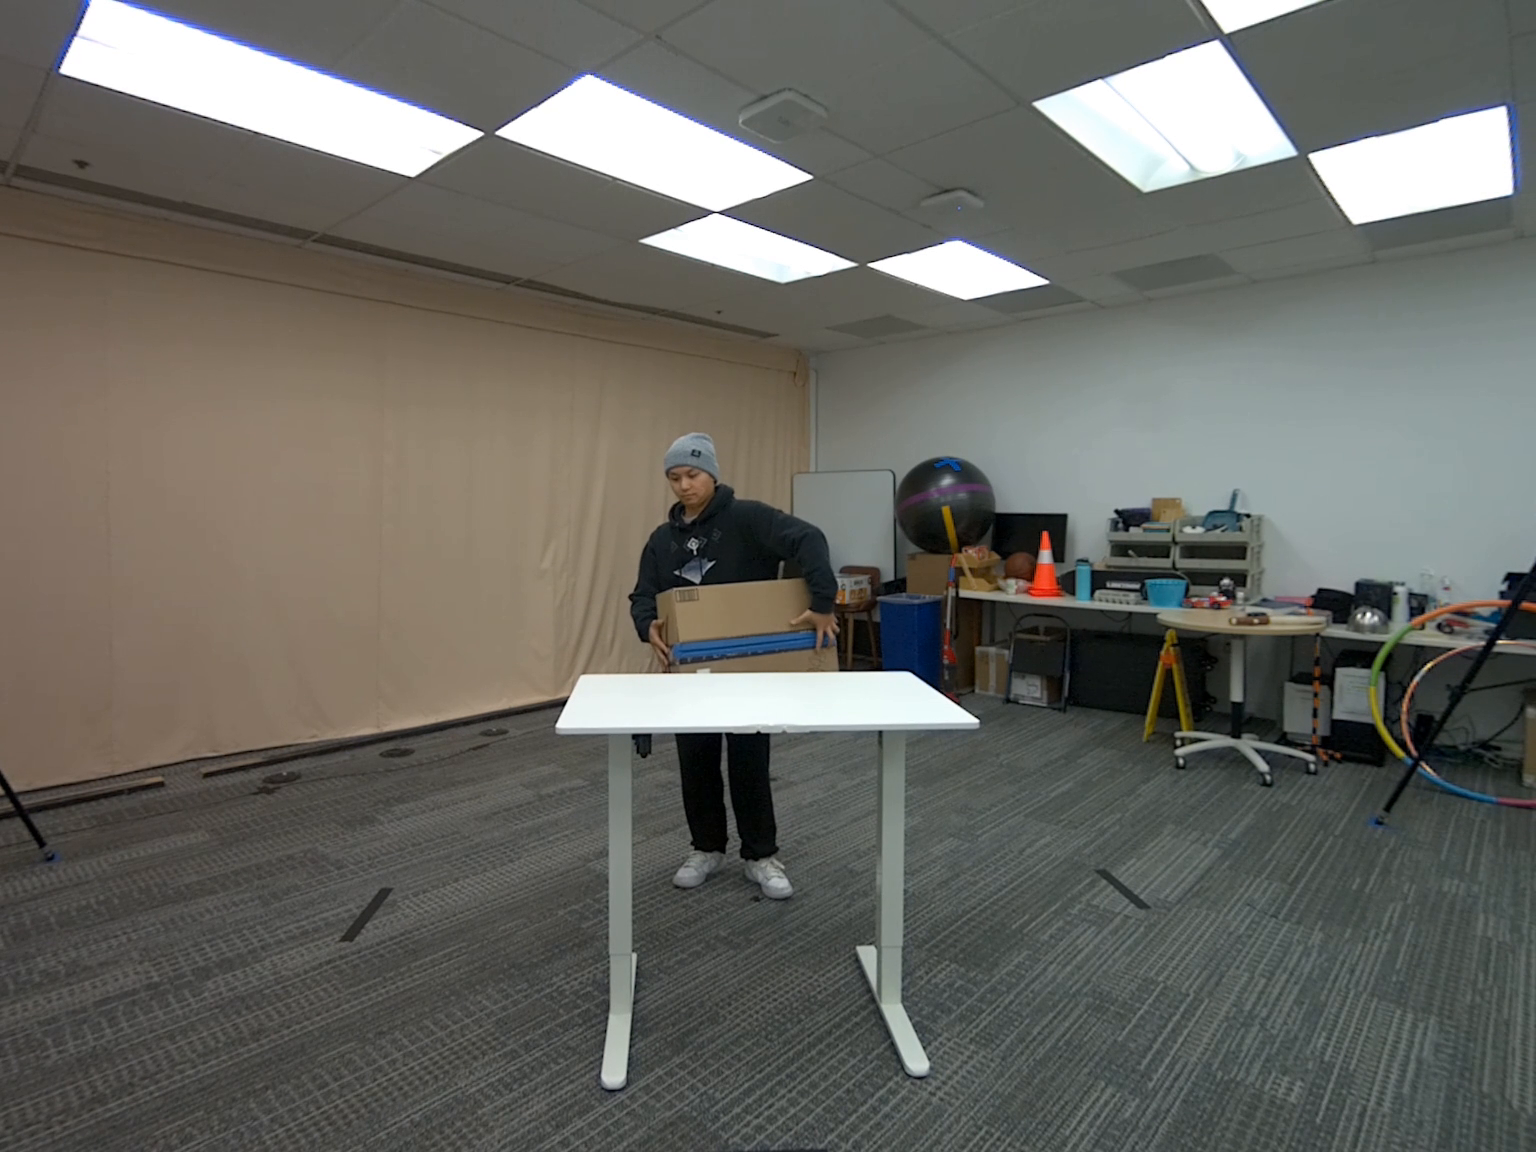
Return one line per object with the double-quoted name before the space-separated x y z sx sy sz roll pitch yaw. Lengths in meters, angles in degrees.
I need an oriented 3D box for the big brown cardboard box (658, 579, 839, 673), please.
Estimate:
"big brown cardboard box" -0.071 0.232 2.864 0.577 0.419 0.237 -4 -6 -21
